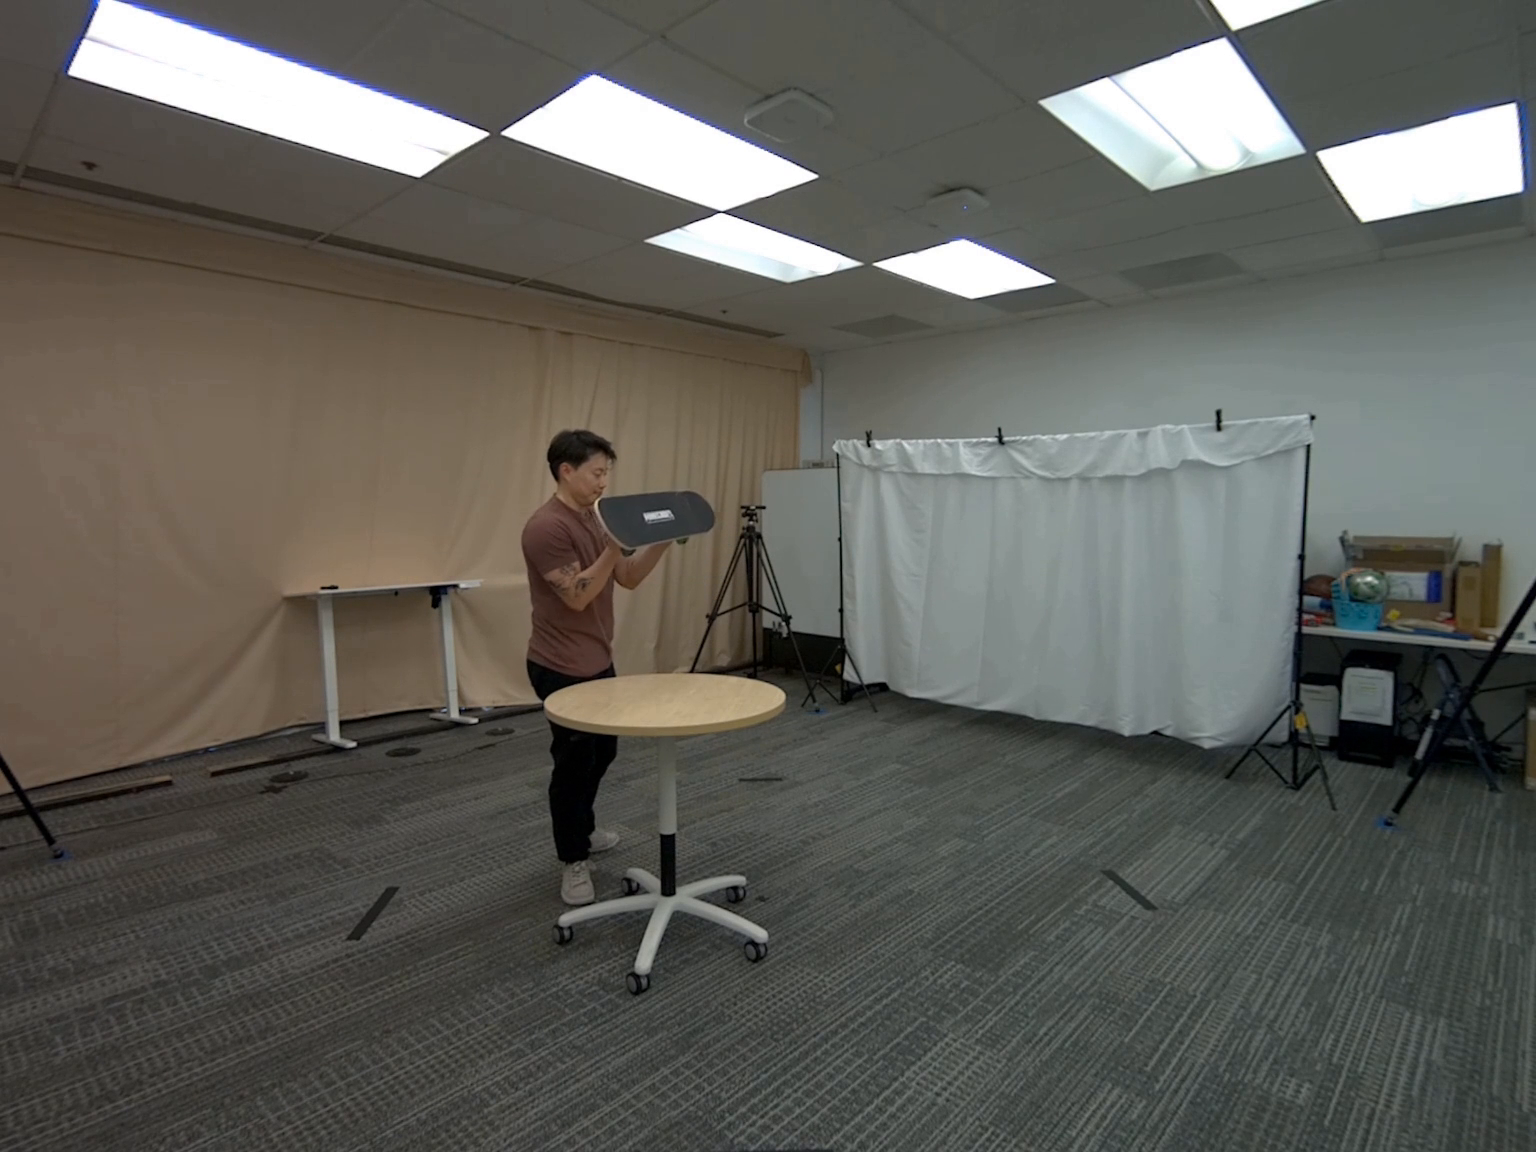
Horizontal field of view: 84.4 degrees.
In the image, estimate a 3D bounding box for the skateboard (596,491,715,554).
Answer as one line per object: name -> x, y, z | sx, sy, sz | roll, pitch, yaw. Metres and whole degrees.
skateboard -> -0.399, -0.185, 2.963 | 0.112, 0.195, 0.770 | -33, -5, 23
